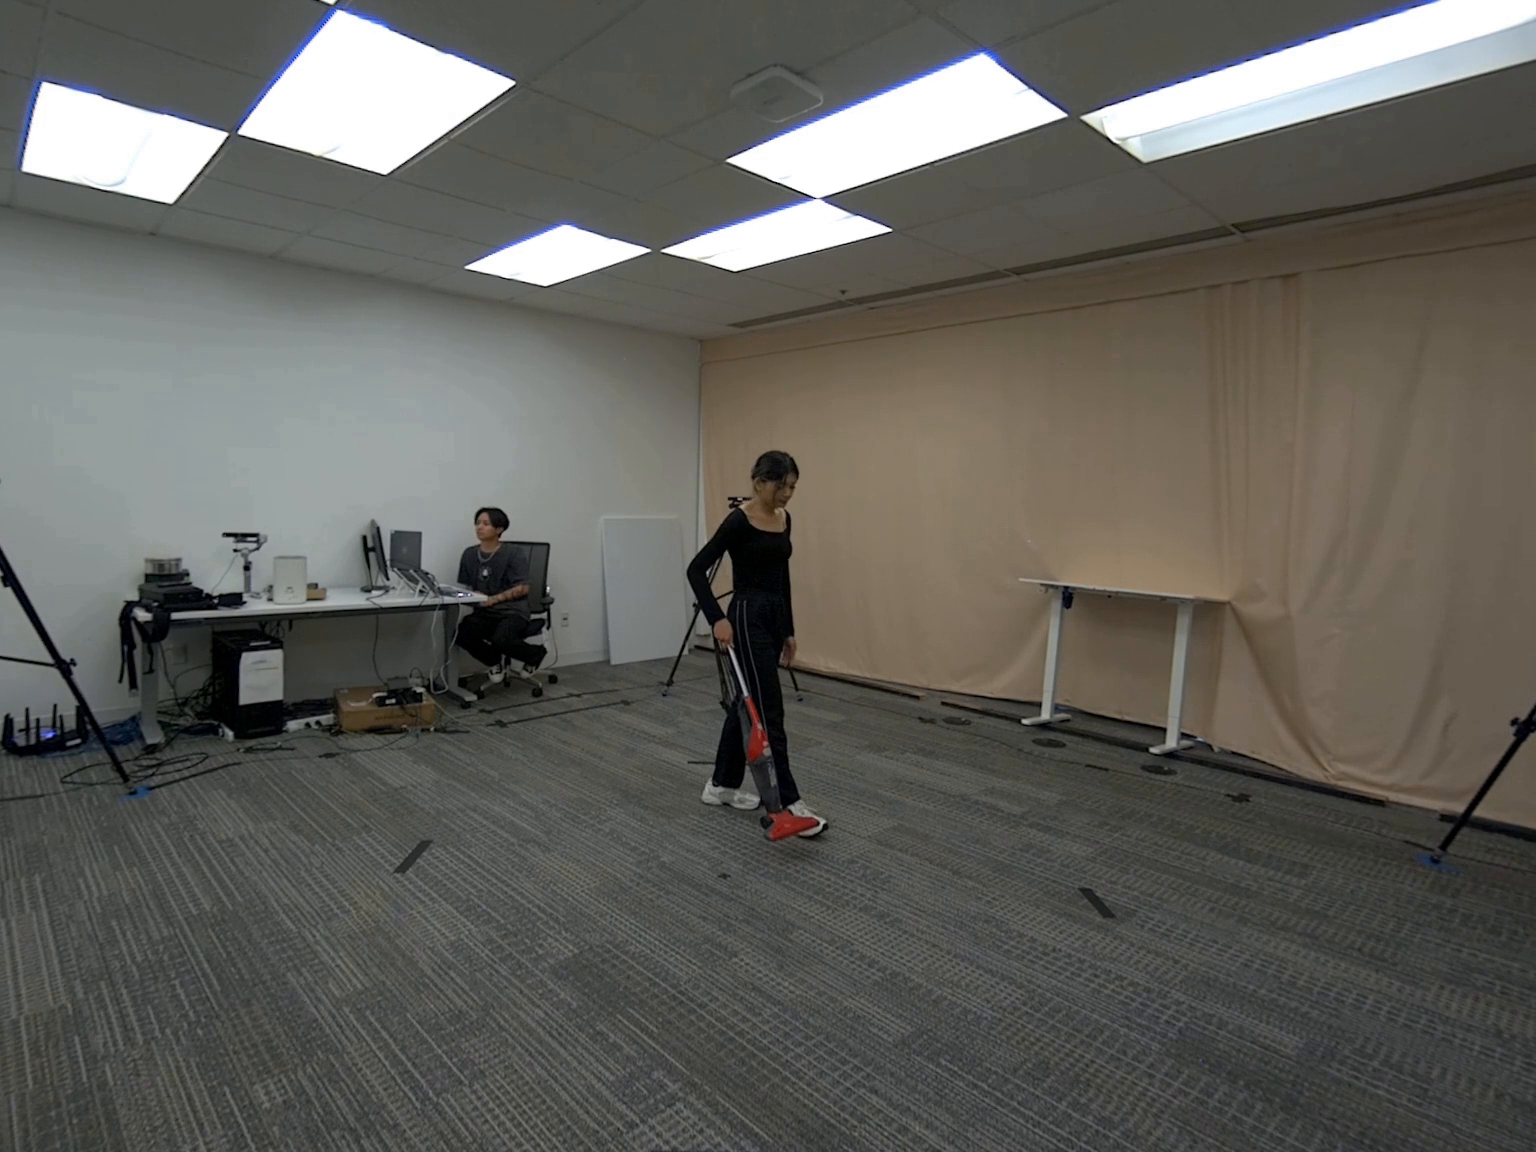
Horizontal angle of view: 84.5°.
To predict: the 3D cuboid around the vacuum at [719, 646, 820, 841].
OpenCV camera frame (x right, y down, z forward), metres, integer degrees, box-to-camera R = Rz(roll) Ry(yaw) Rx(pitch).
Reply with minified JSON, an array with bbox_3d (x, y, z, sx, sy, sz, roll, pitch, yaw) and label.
[{"bbox_3d":[-0.104,0.522,3.459,0.247,1.068,0.144,-4,-24,-37],"label":"vacuum"}]
